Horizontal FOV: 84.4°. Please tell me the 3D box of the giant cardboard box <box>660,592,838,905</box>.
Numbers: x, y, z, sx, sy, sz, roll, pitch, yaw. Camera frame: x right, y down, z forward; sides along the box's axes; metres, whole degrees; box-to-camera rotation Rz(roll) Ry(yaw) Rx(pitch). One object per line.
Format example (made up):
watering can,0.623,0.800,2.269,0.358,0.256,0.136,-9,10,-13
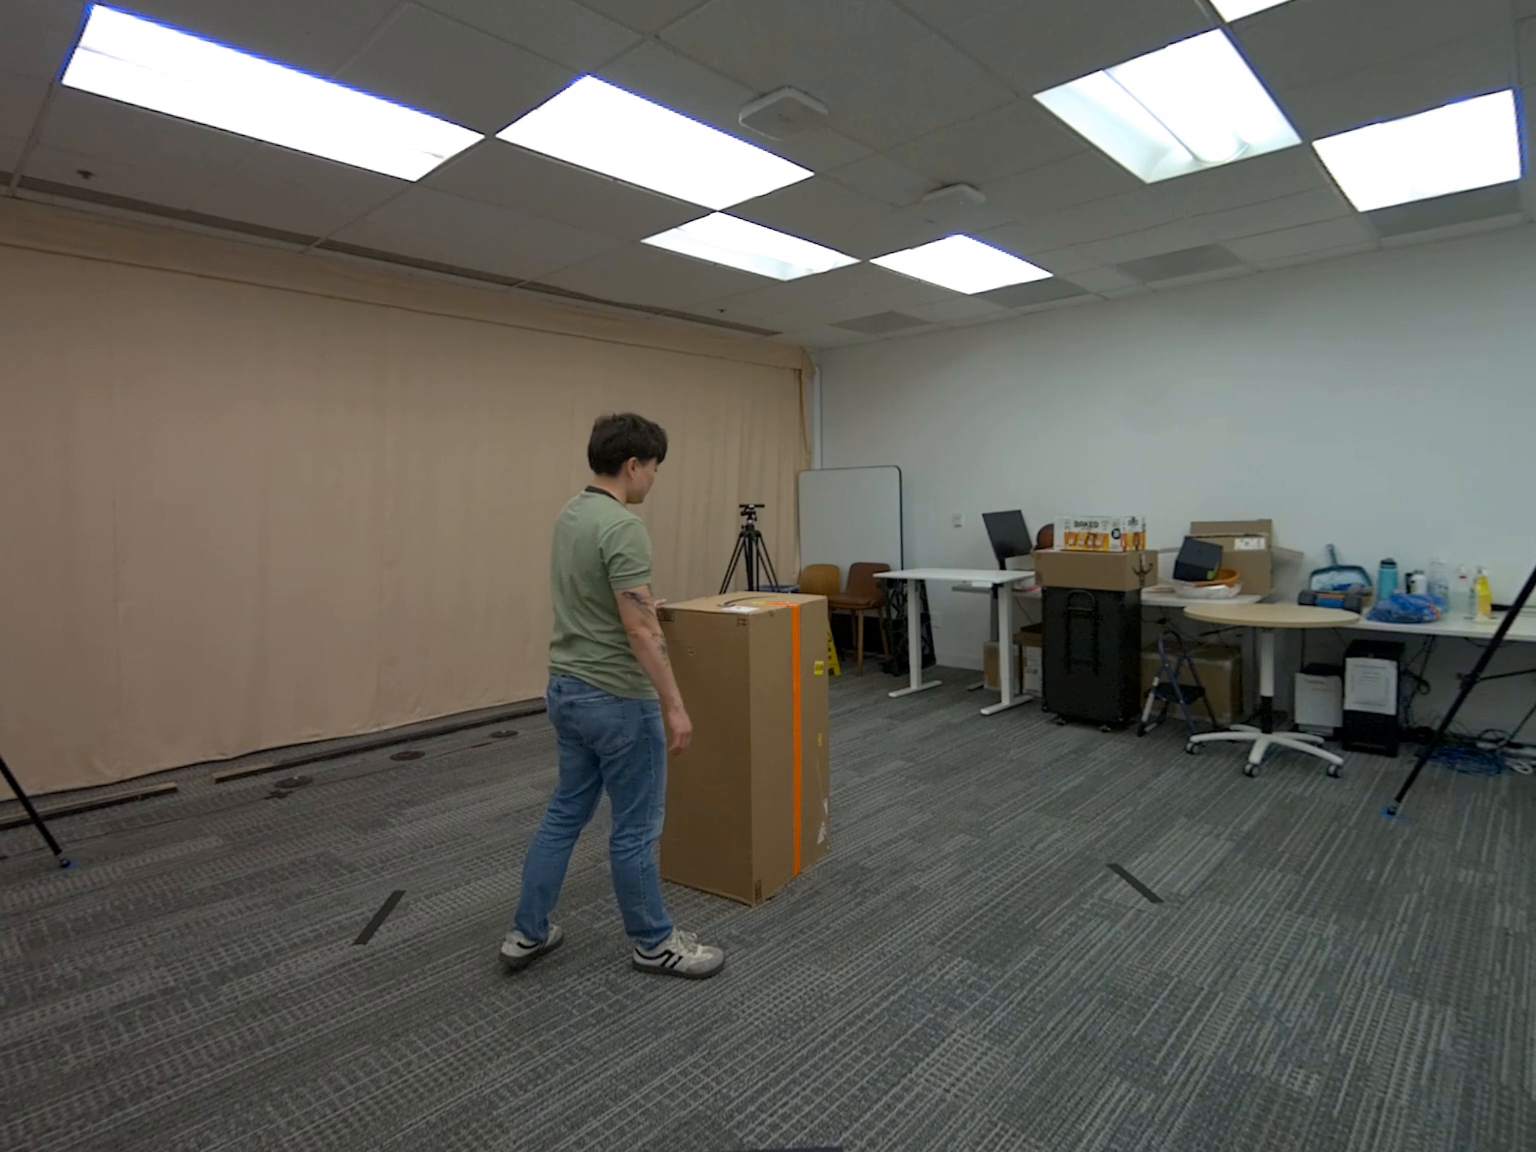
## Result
giant cardboard box,-0.079,0.608,3.237,0.439,1.023,0.561,1,4,33
